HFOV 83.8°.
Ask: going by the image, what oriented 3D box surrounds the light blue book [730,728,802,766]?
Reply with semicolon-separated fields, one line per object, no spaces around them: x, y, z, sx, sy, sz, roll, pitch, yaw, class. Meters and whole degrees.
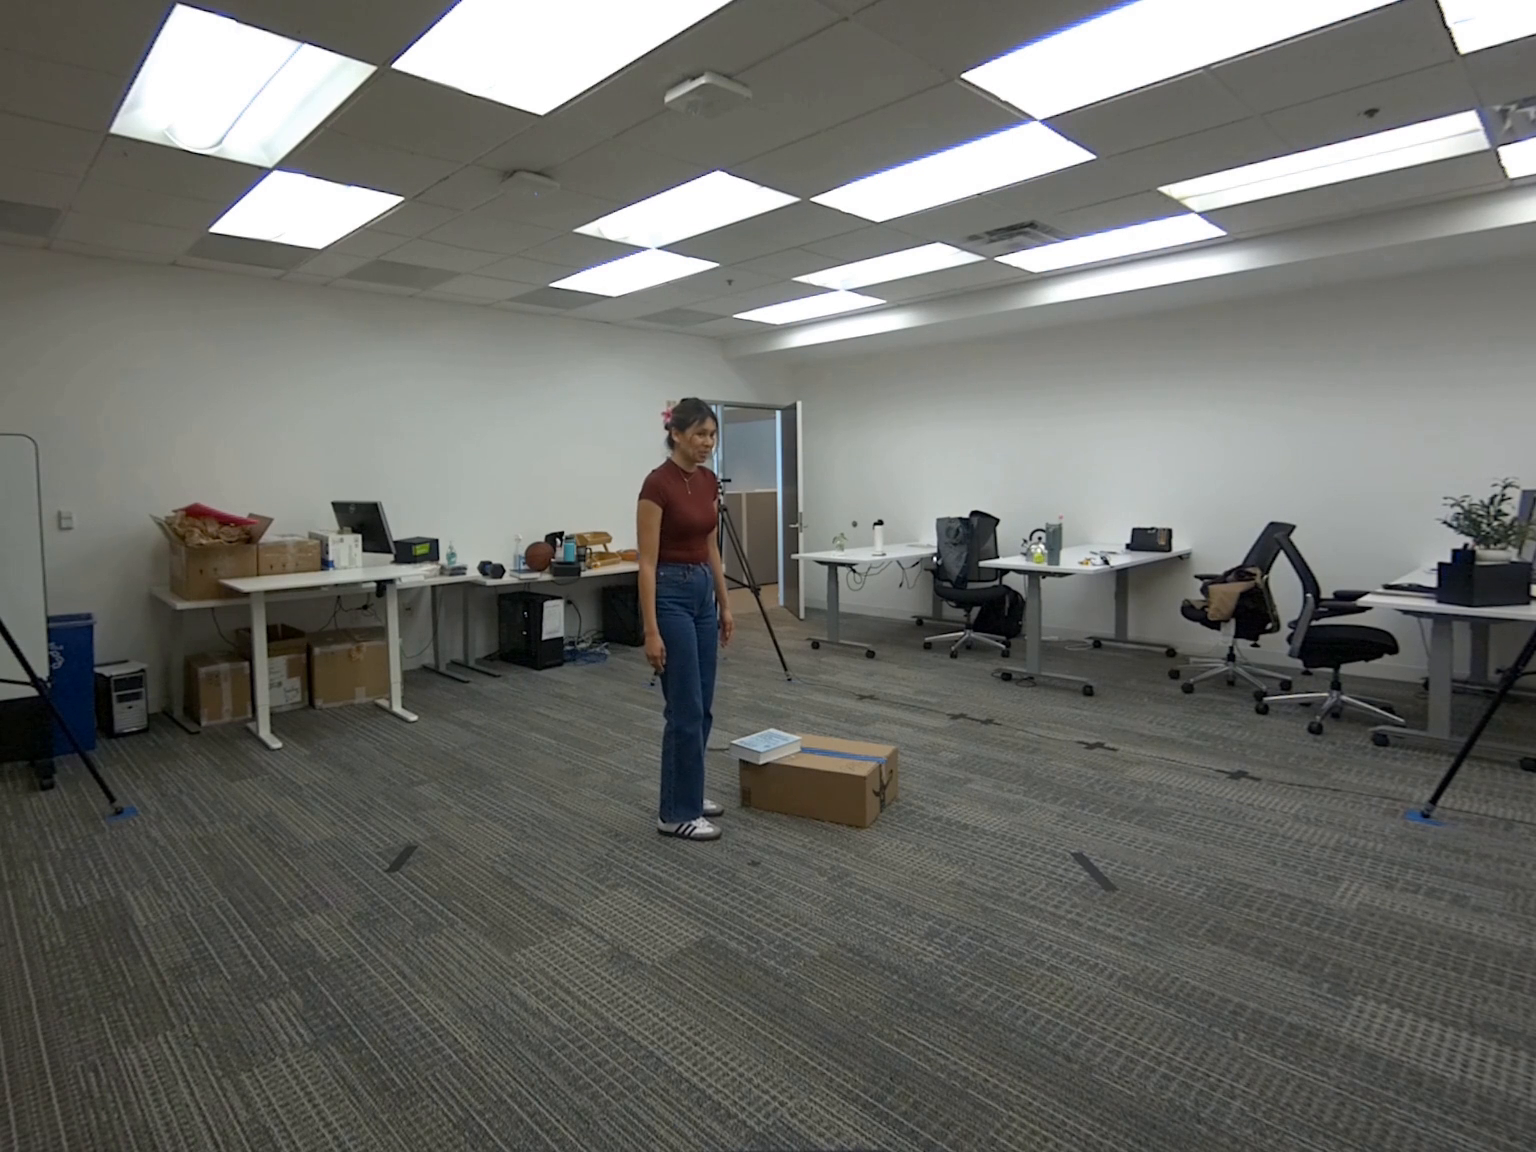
-0.008;0.733;3.689;0.197;0.059;0.254;7;11;44;light blue book
